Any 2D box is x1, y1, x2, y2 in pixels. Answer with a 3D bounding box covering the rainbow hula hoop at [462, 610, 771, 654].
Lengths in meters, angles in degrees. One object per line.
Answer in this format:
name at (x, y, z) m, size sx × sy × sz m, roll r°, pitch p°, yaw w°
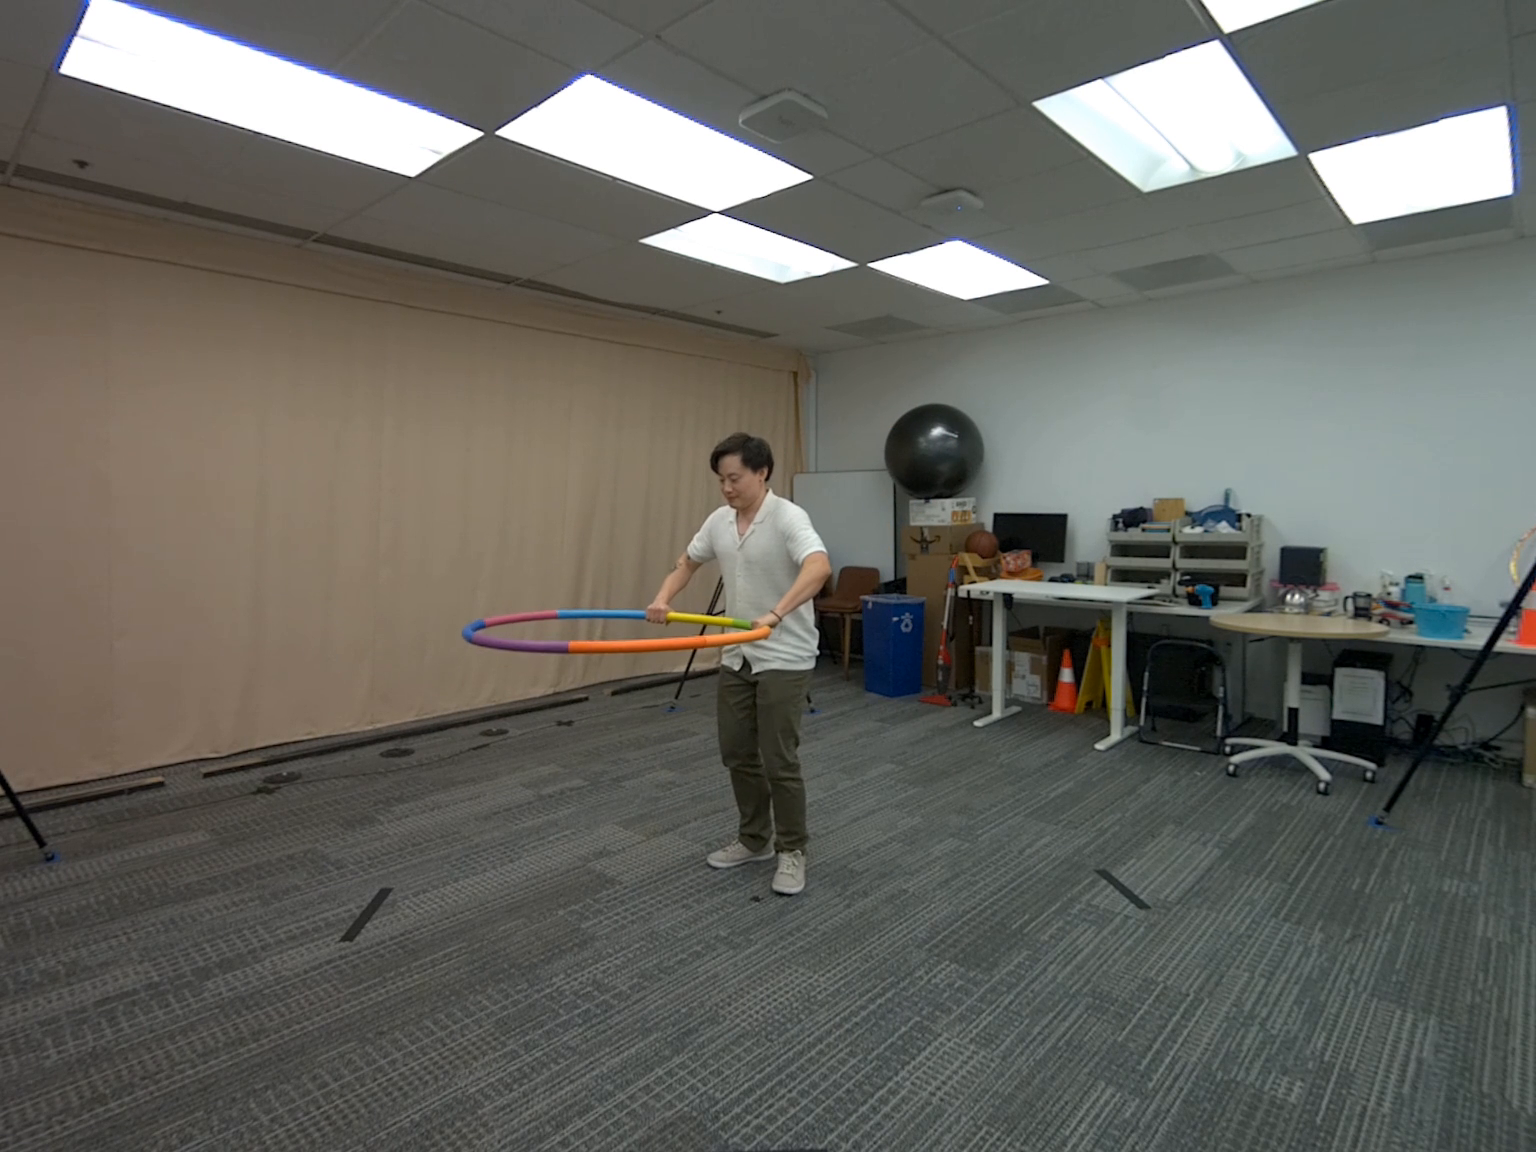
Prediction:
rainbow hula hoop at (-0.476, 0.178, 2.739) m, size 0.978 × 0.035 × 0.981 m, roll 1°, pitch 2°, yaw -2°
